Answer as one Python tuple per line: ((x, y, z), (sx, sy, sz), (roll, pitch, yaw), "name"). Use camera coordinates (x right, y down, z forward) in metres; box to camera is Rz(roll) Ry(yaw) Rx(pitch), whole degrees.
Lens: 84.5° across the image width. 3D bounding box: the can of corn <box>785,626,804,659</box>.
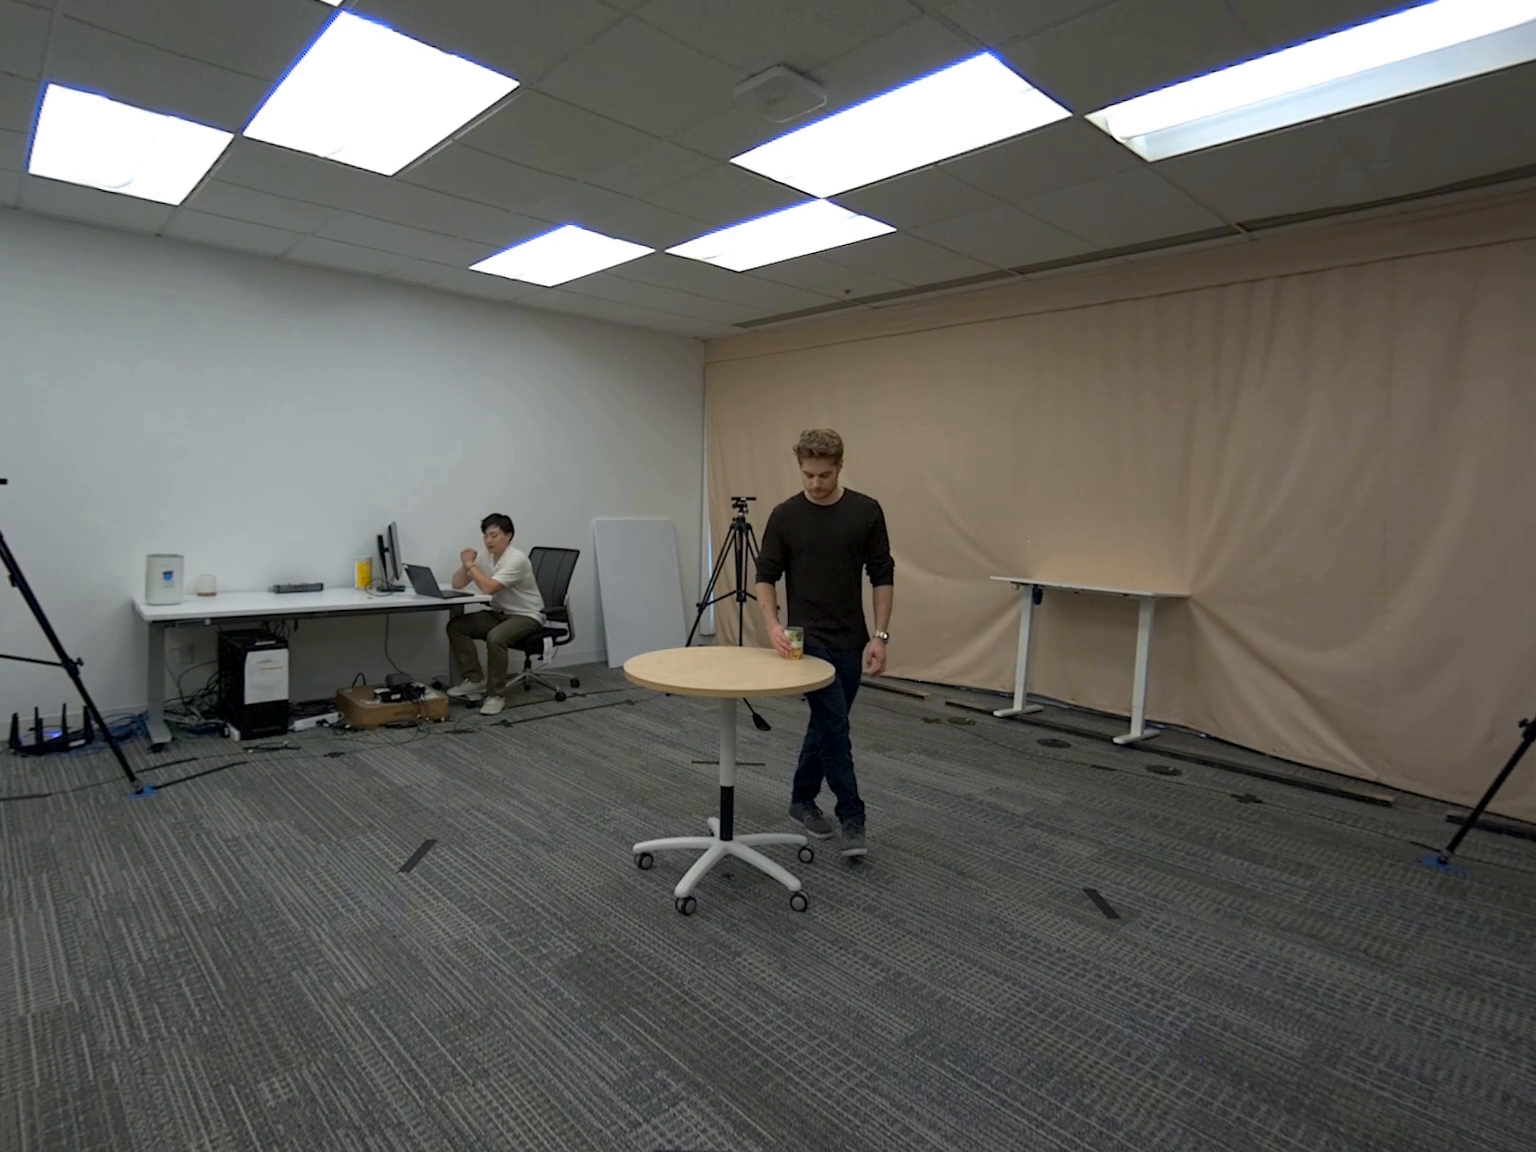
((0.083, 0.259, 3.226), (0.074, 0.111, 0.074), (0, 0, -1), "can of corn")
